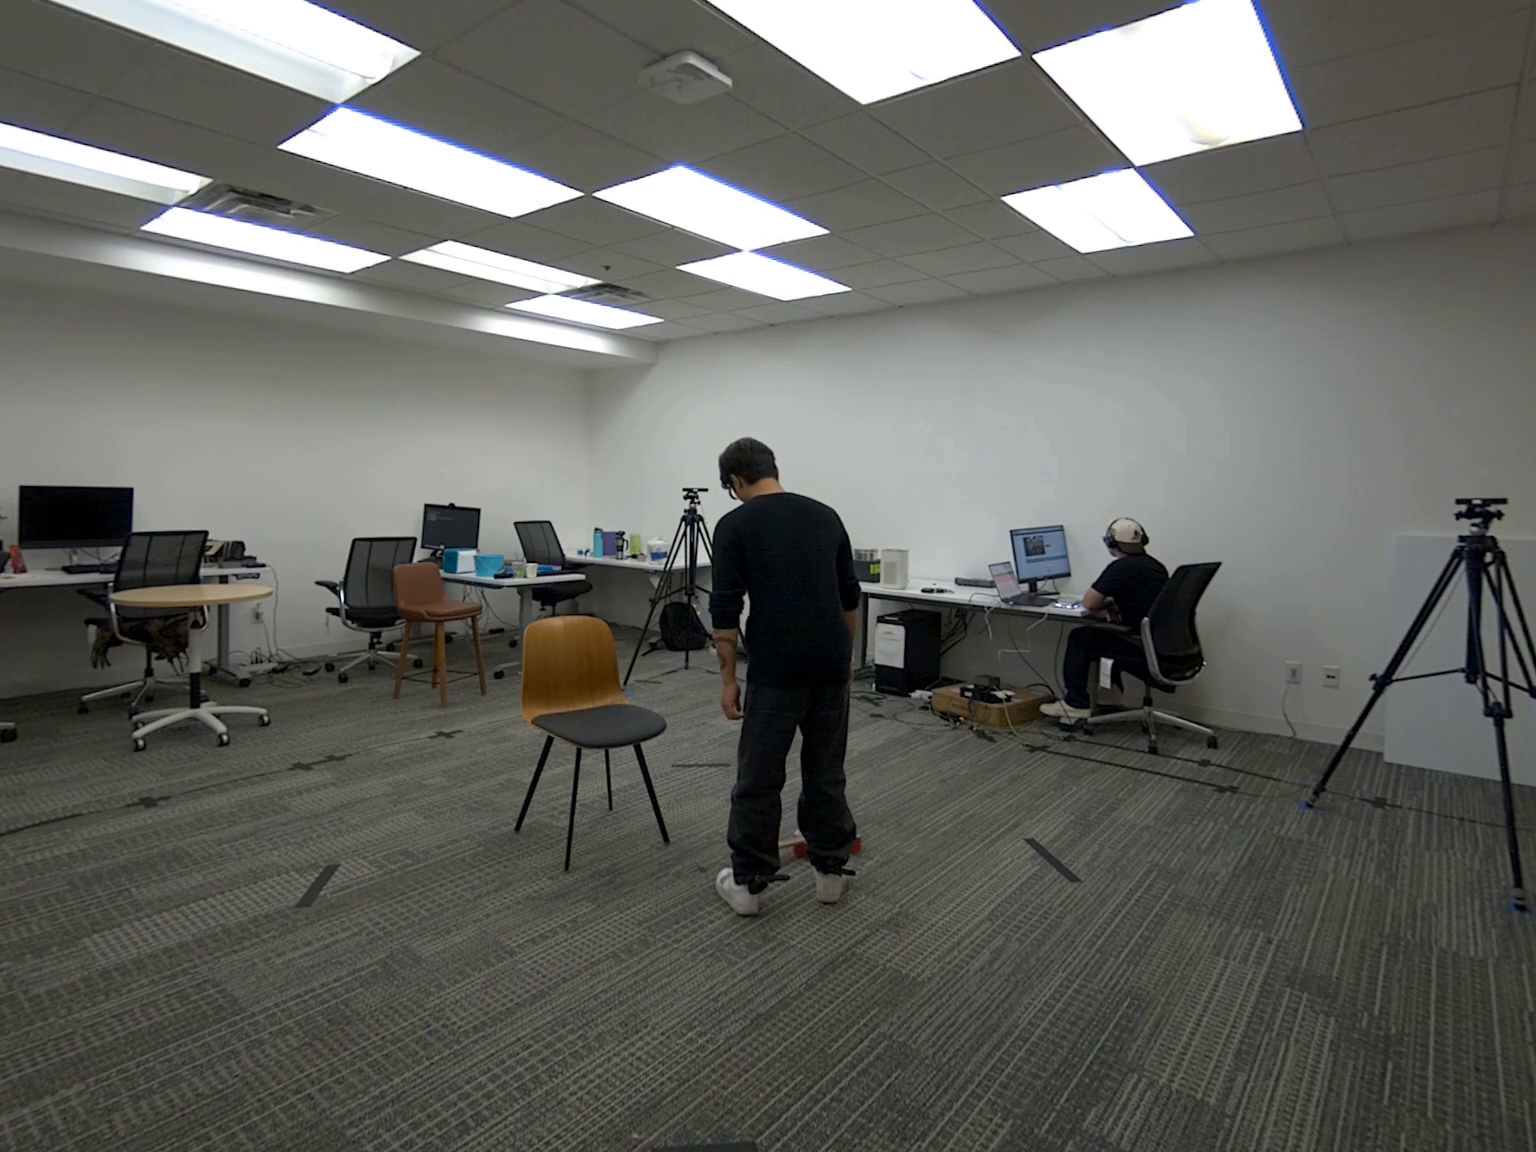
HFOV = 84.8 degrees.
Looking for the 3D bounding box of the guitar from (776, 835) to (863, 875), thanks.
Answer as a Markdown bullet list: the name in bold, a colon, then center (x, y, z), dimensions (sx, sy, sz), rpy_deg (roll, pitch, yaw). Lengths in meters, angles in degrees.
- **guitar**: center (0.119, 1.022, 3.282), dimensions (0.486, 0.070, 0.198), rpy_deg (-1, 6, -24)
